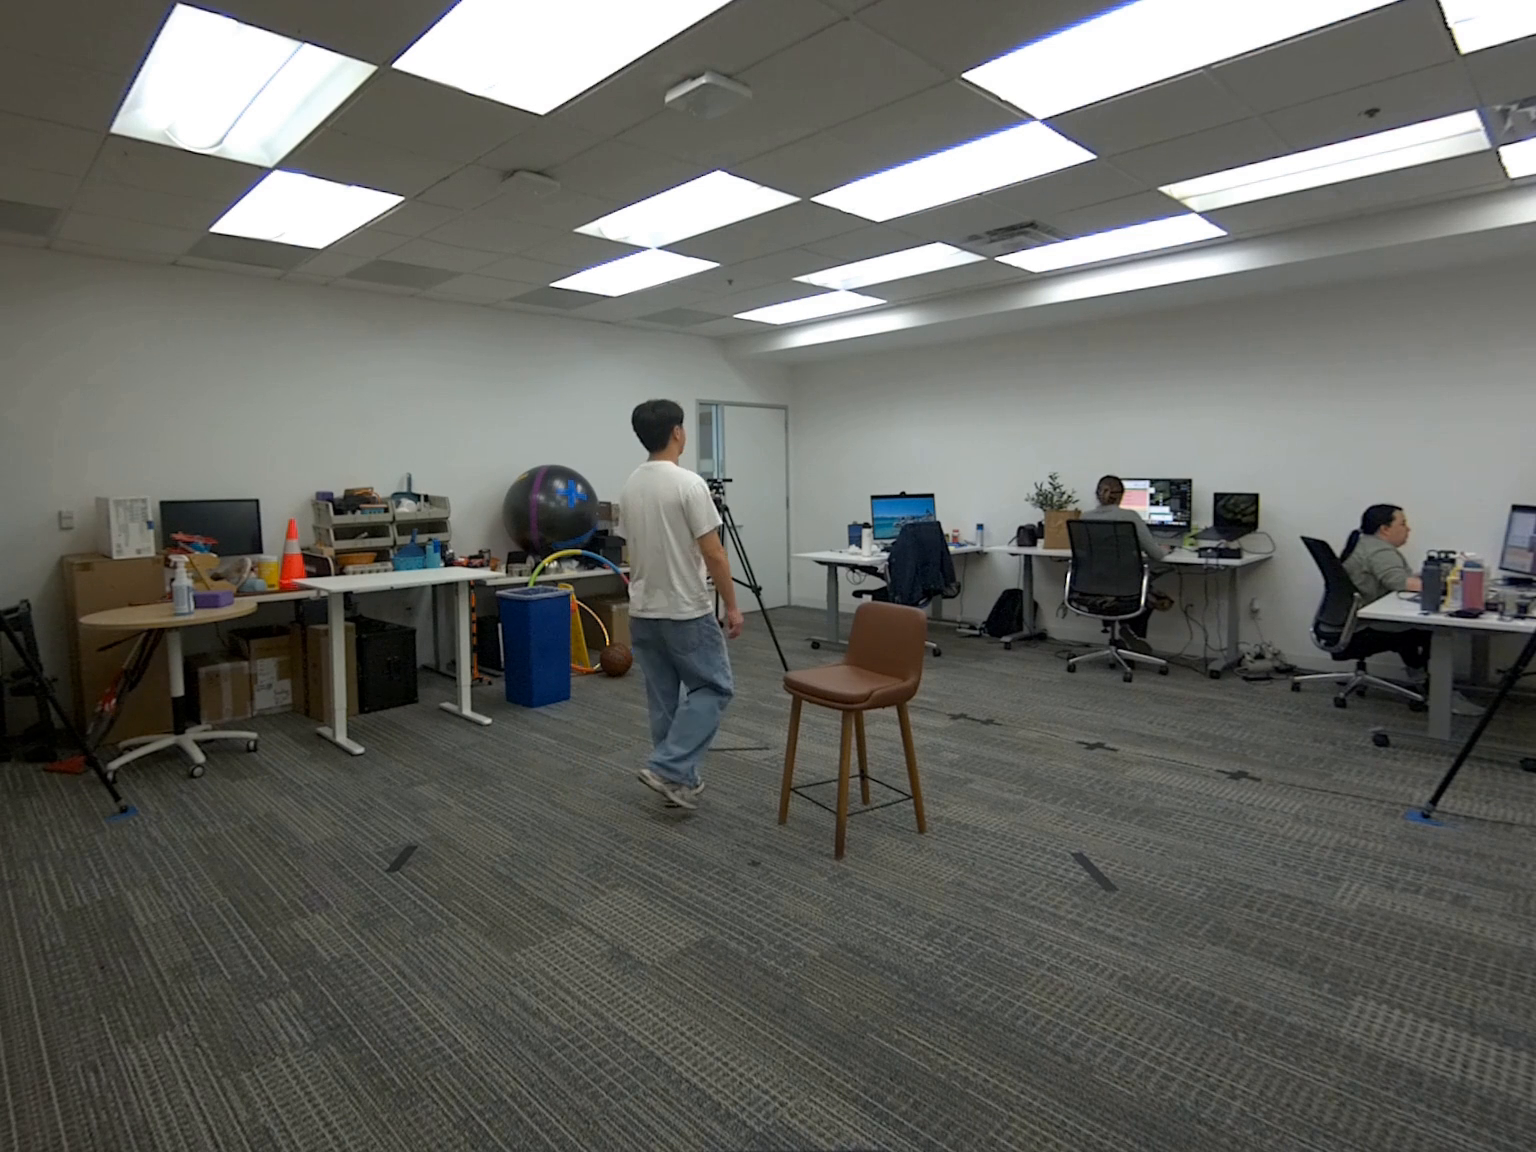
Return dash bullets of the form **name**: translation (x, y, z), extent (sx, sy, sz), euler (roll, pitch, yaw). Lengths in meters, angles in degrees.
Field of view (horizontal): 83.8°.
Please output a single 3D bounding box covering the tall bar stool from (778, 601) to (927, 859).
- **tall bar stool**: translation (0.339, 0.570, 3.386), extent (0.456, 0.887, 0.469), euler (-1, 4, -32)
